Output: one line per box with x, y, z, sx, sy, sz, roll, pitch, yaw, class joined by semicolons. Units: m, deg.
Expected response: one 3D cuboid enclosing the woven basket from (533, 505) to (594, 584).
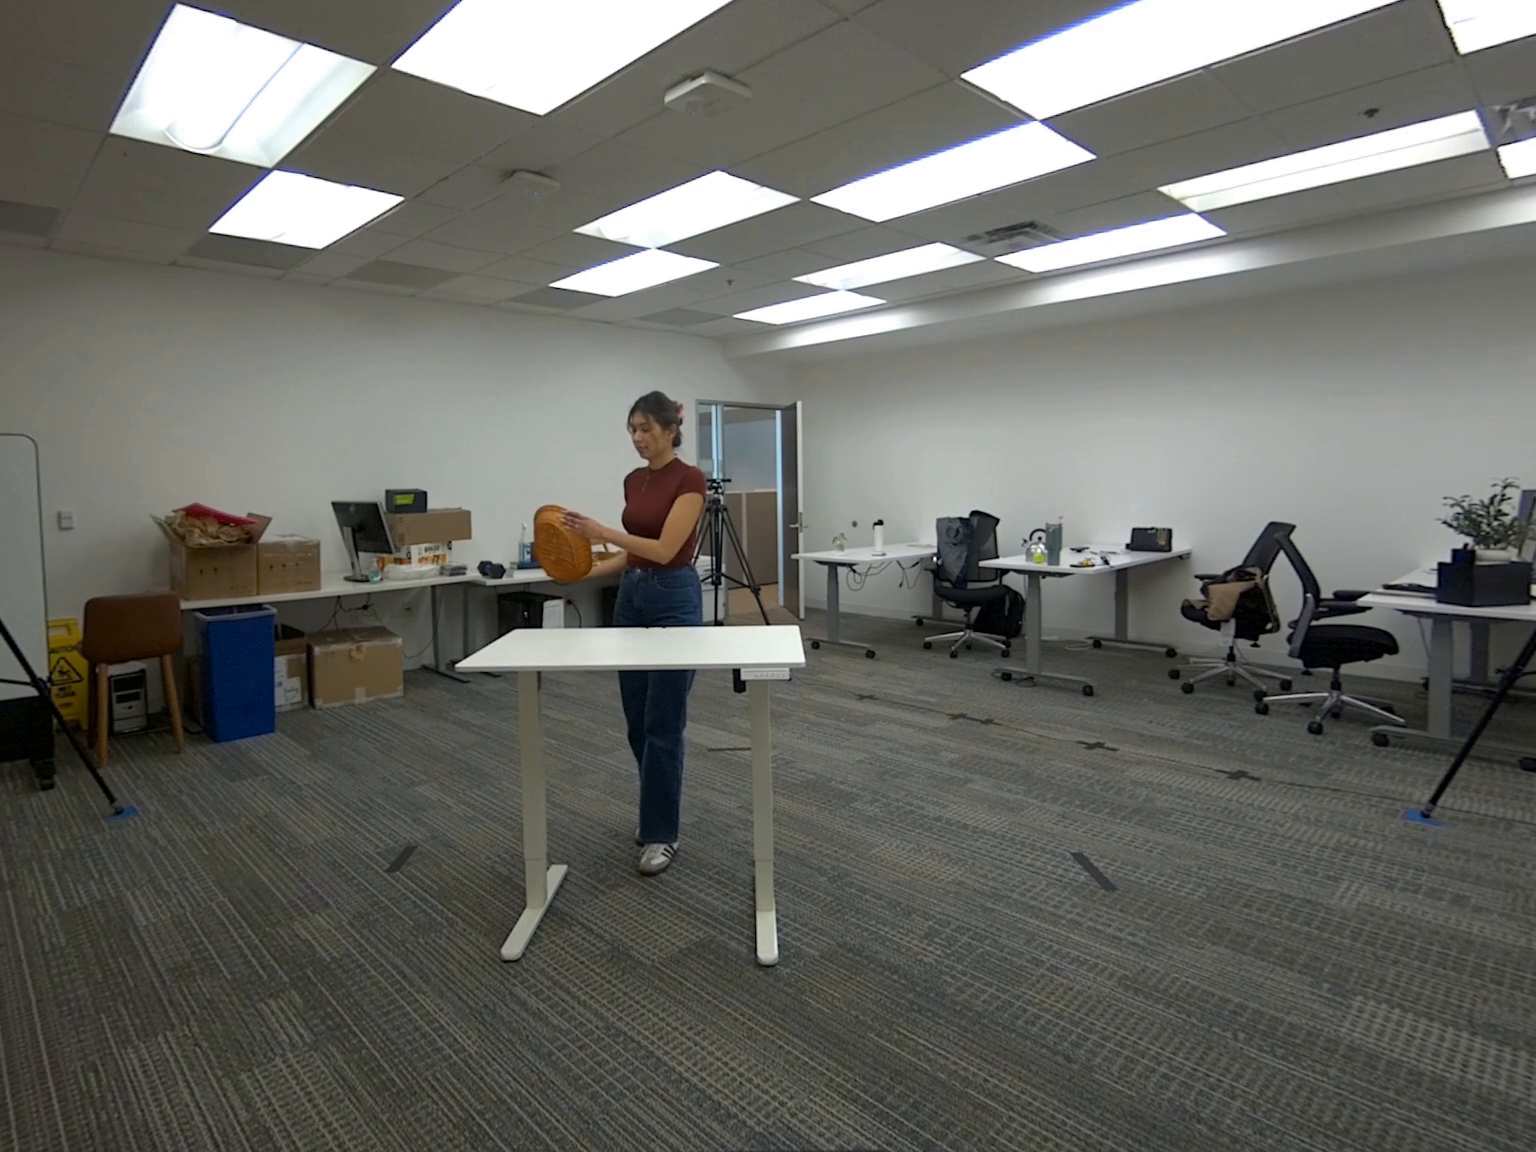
-0.786;-0.108;3.234;0.258;0.341;0.074;15;42;19;woven basket
